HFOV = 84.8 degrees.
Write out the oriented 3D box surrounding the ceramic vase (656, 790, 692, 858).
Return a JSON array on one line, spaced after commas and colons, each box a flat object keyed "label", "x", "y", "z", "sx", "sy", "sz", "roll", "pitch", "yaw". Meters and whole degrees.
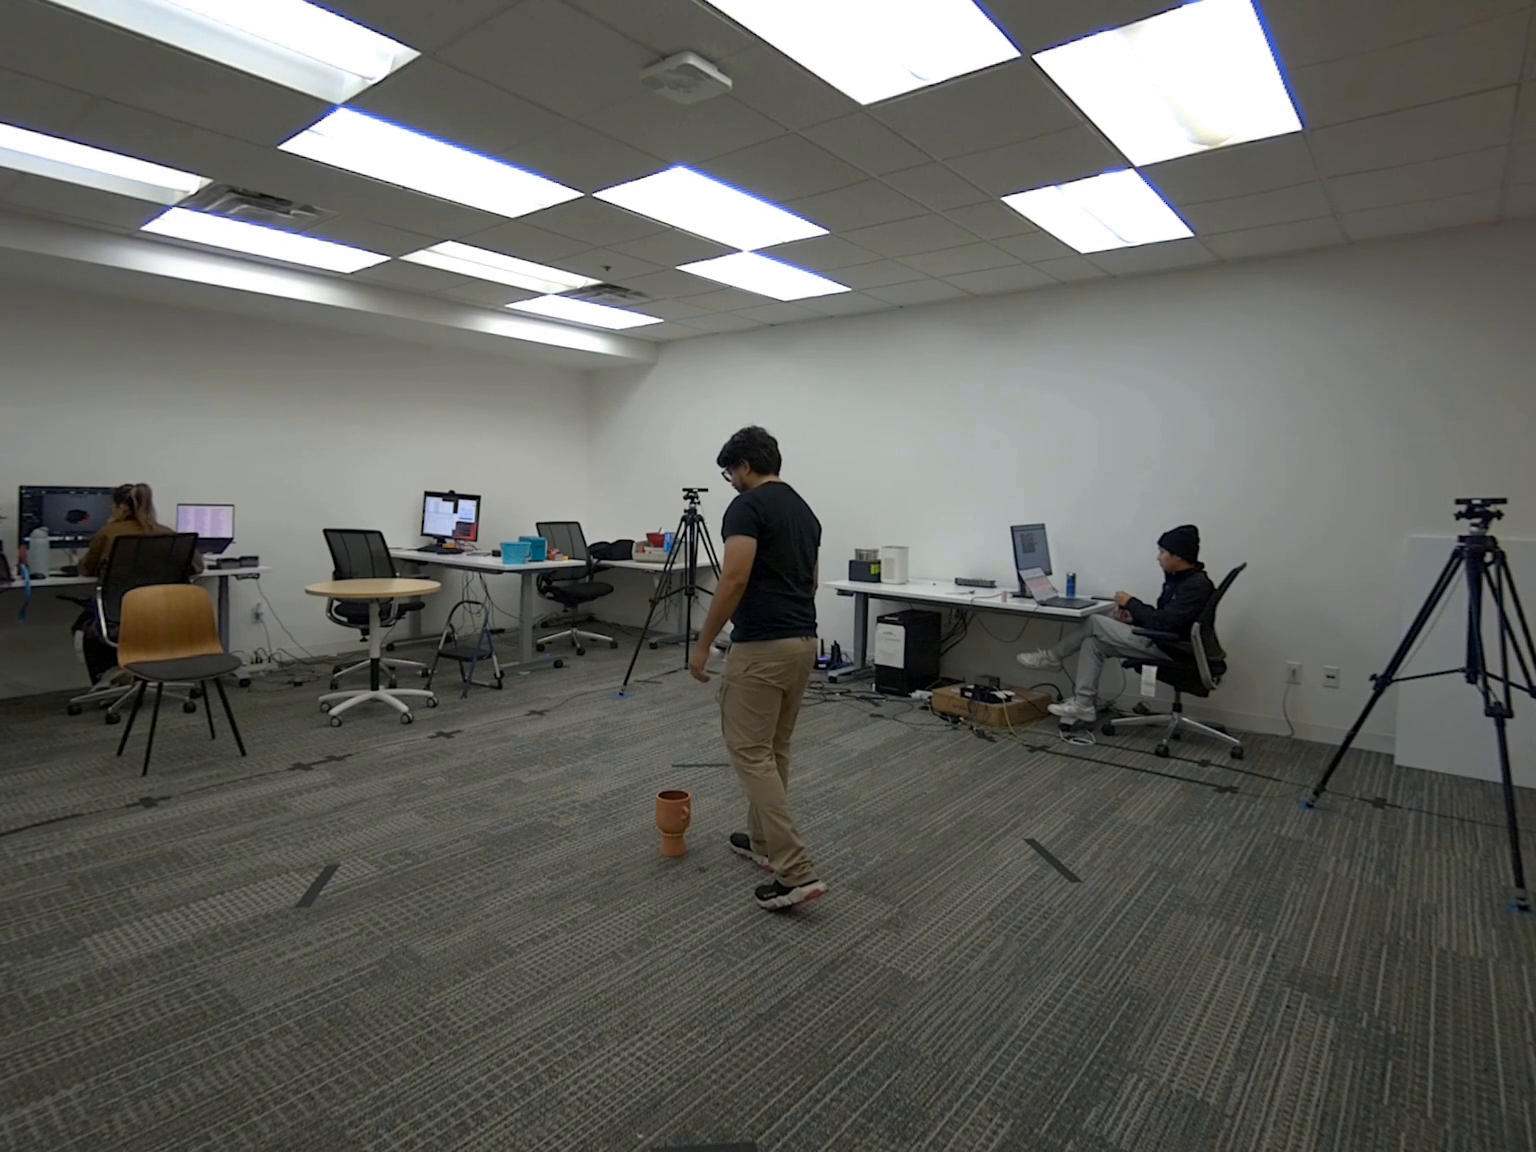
[{"label": "ceramic vase", "x": -0.377, "y": 0.941, "z": 3.256, "sx": 0.134, "sy": 0.219, "sz": 0.159, "roll": -1, "pitch": 3, "yaw": -2}]
